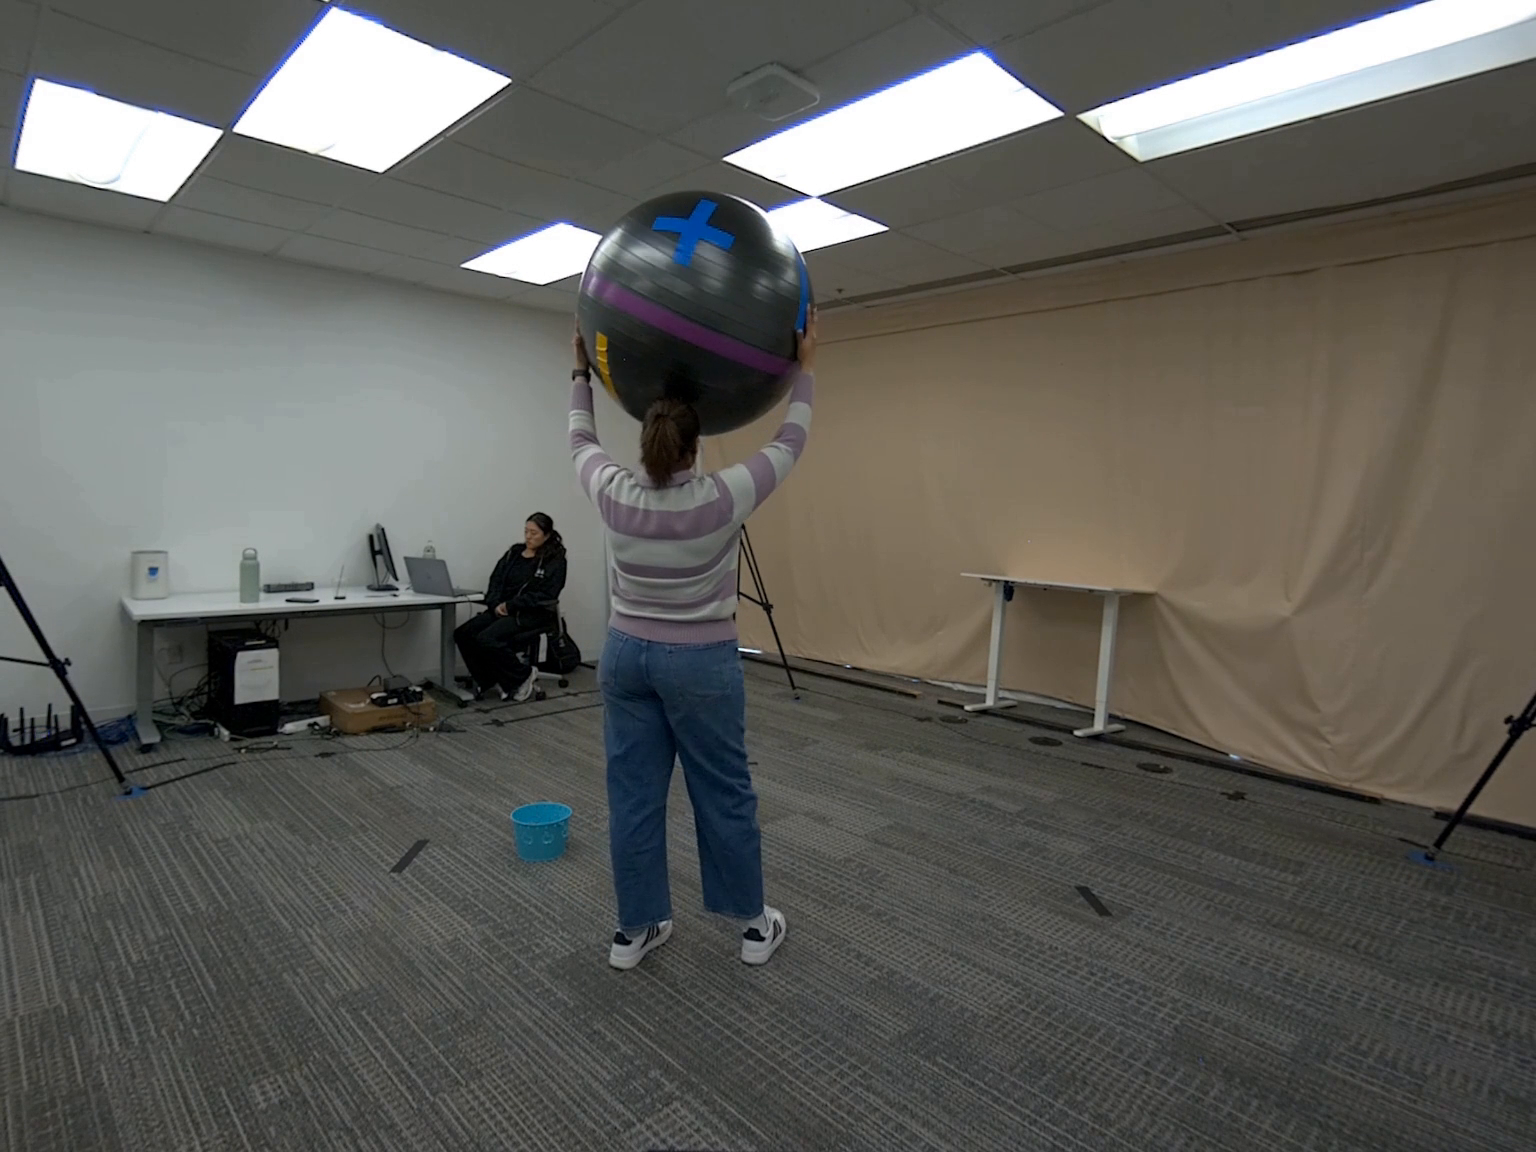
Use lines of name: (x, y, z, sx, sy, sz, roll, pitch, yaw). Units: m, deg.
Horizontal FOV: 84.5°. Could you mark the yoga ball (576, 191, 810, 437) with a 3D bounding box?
yoga ball: (-0.232, -0.828, 2.703, 0.757, 0.756, 0.761, 1, 4, -1)
